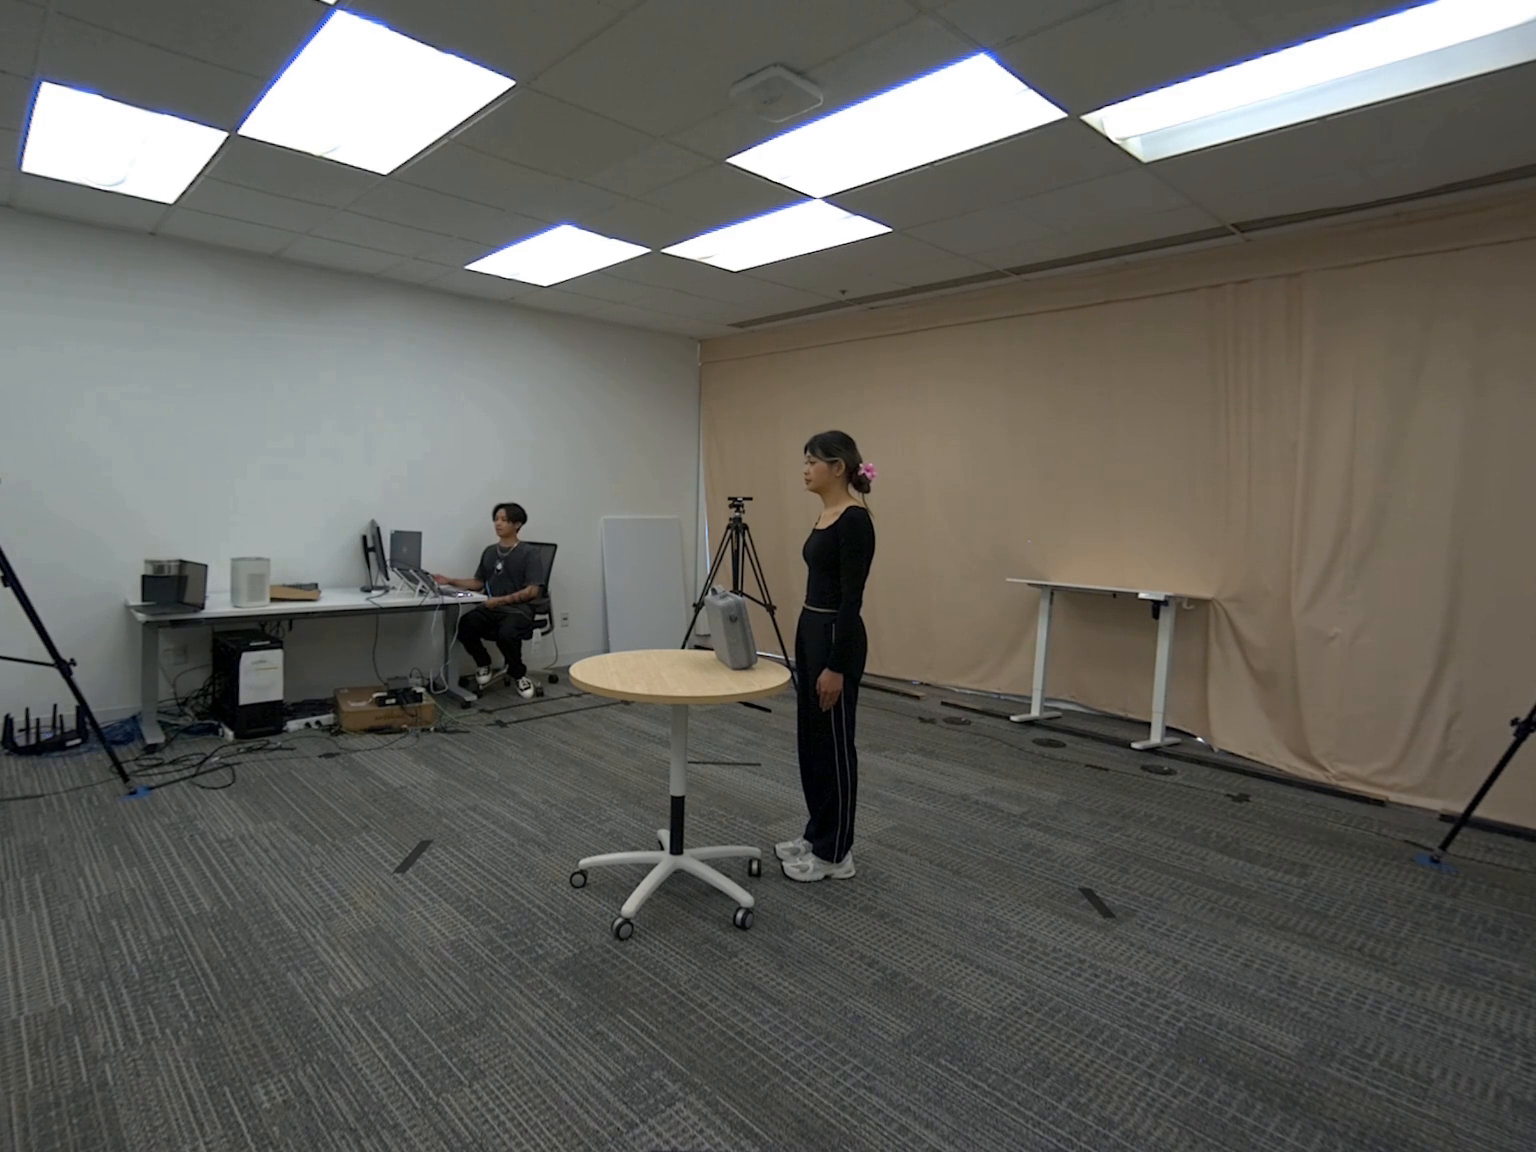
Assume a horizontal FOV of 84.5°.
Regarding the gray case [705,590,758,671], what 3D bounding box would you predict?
[{"bbox_3d":[-0.140,0.188,3.047,0.103,0.259,0.261,-13,7,-16],"label":"gray case"}]
